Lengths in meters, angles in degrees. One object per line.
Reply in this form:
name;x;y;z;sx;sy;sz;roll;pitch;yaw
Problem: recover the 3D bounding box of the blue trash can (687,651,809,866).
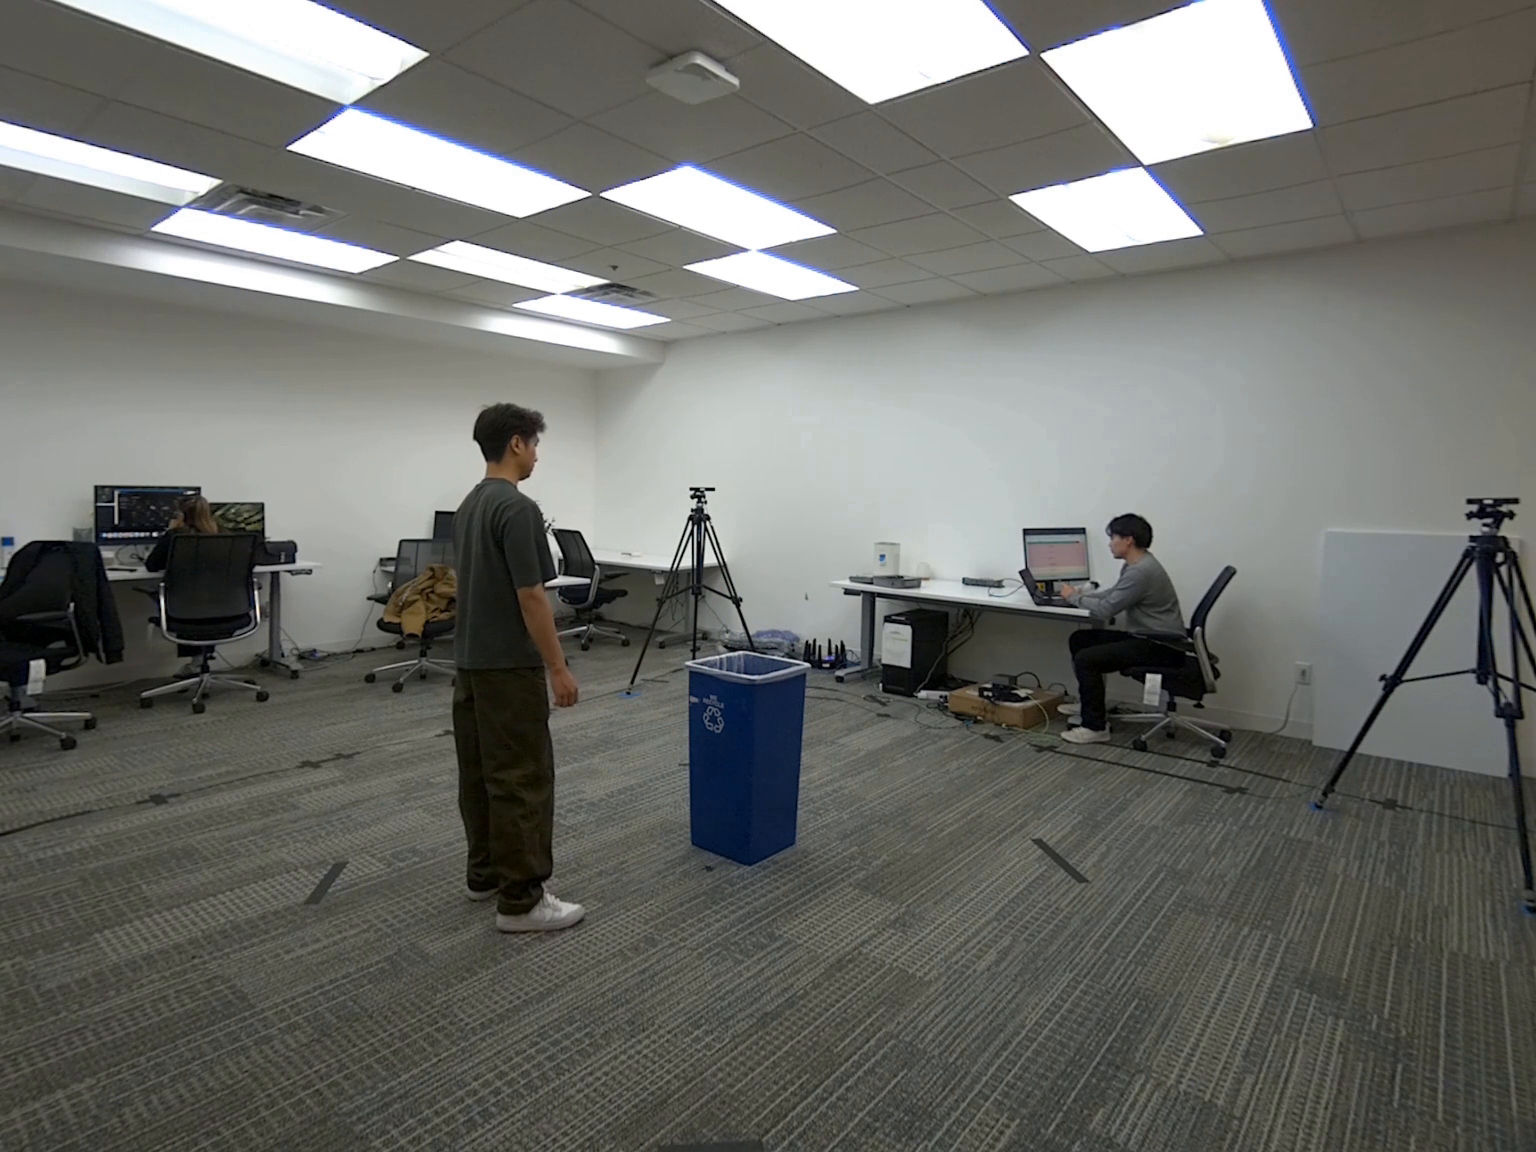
blue trash can;-0.097;0.690;3.328;0.391;0.711;0.363;4;5;38
